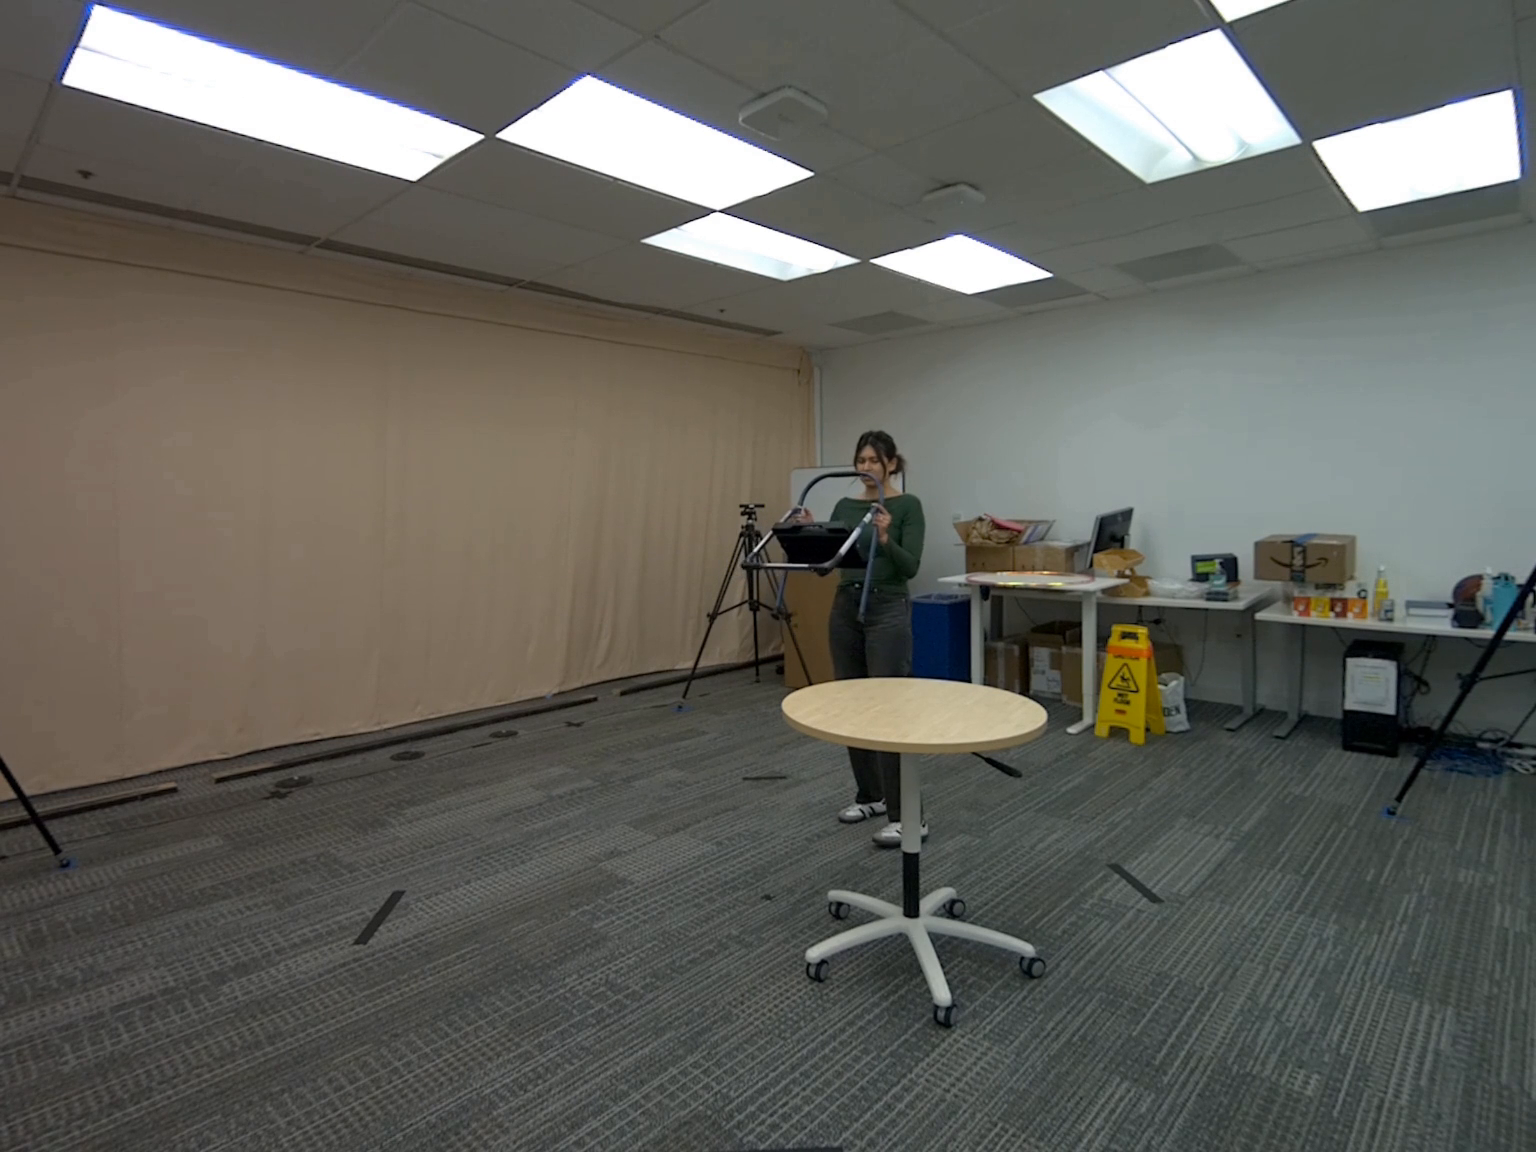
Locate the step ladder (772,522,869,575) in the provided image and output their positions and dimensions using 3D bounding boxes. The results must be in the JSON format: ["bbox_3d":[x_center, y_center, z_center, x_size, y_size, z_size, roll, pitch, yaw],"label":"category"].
[{"bbox_3d":[0.244,-0.155,3.445,0.444,0.607,0.338,2,-38,36],"label":"step ladder"}]
